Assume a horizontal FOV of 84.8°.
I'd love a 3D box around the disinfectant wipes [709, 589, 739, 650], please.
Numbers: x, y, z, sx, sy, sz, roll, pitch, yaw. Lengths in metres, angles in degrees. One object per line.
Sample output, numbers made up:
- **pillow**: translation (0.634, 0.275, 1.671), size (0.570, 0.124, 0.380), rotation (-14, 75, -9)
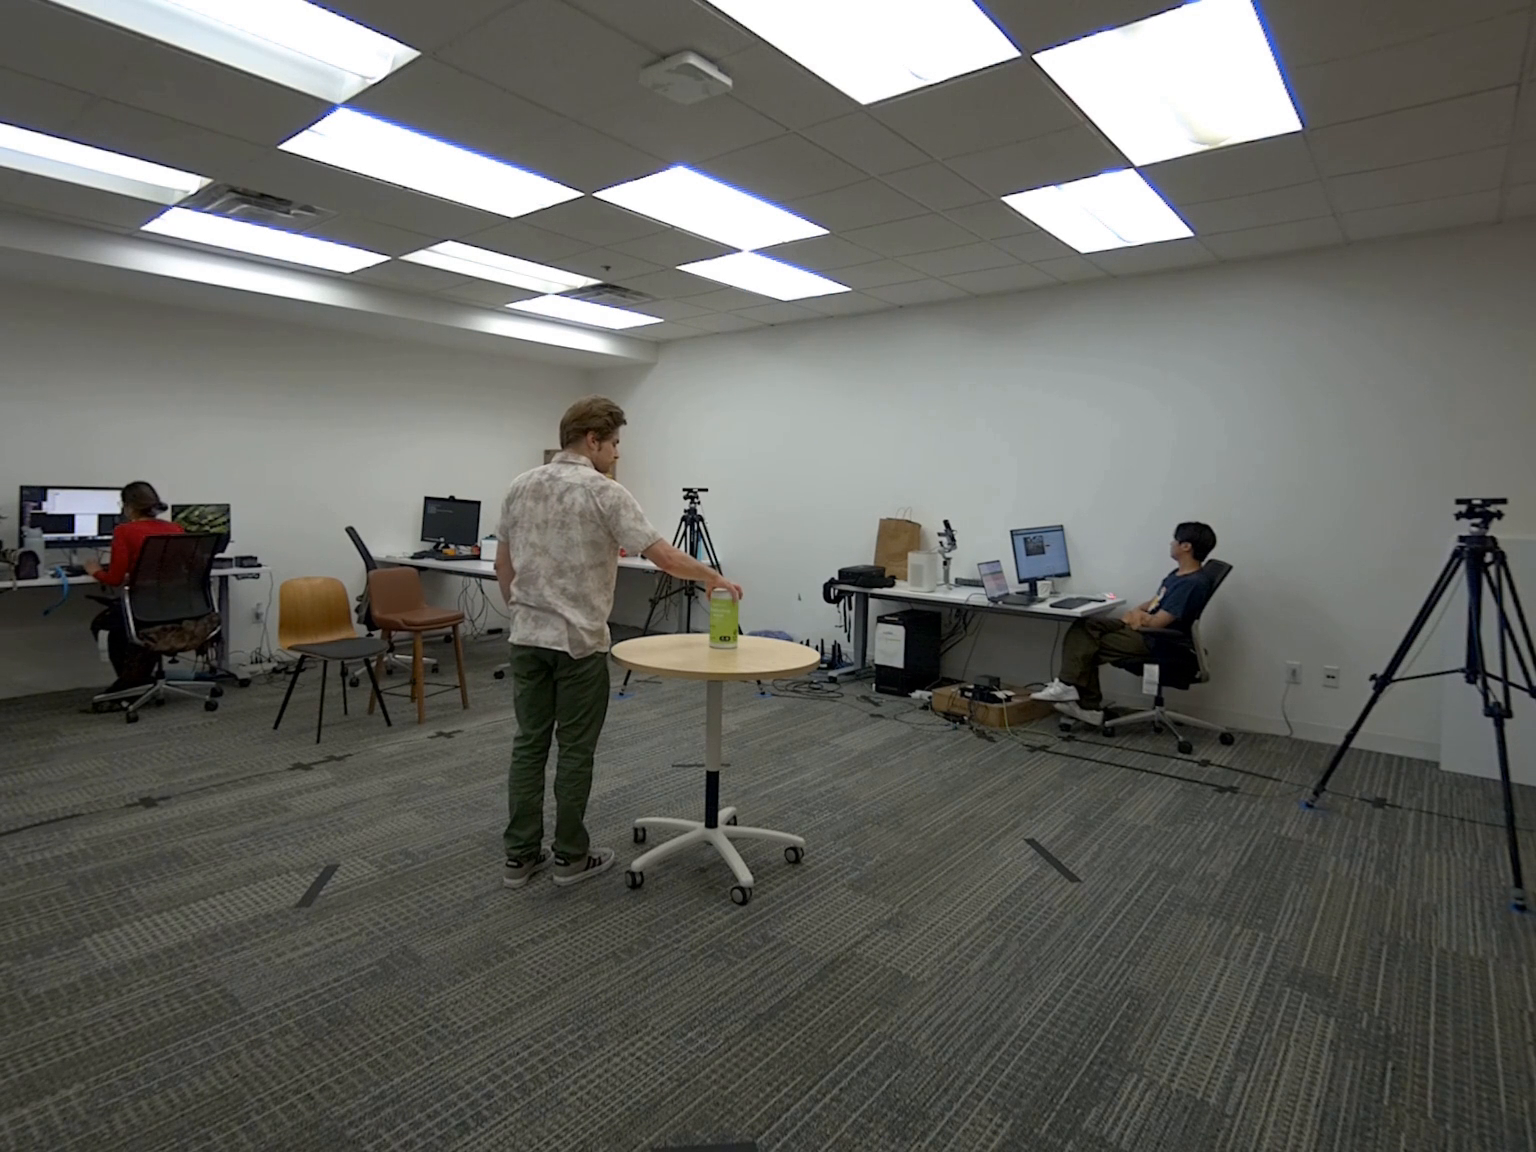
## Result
- **disinfectant wipes**: translation (-0.184, 0.163, 3.214), size (0.118, 0.217, 0.118), rotation (-1, 4, -2)
